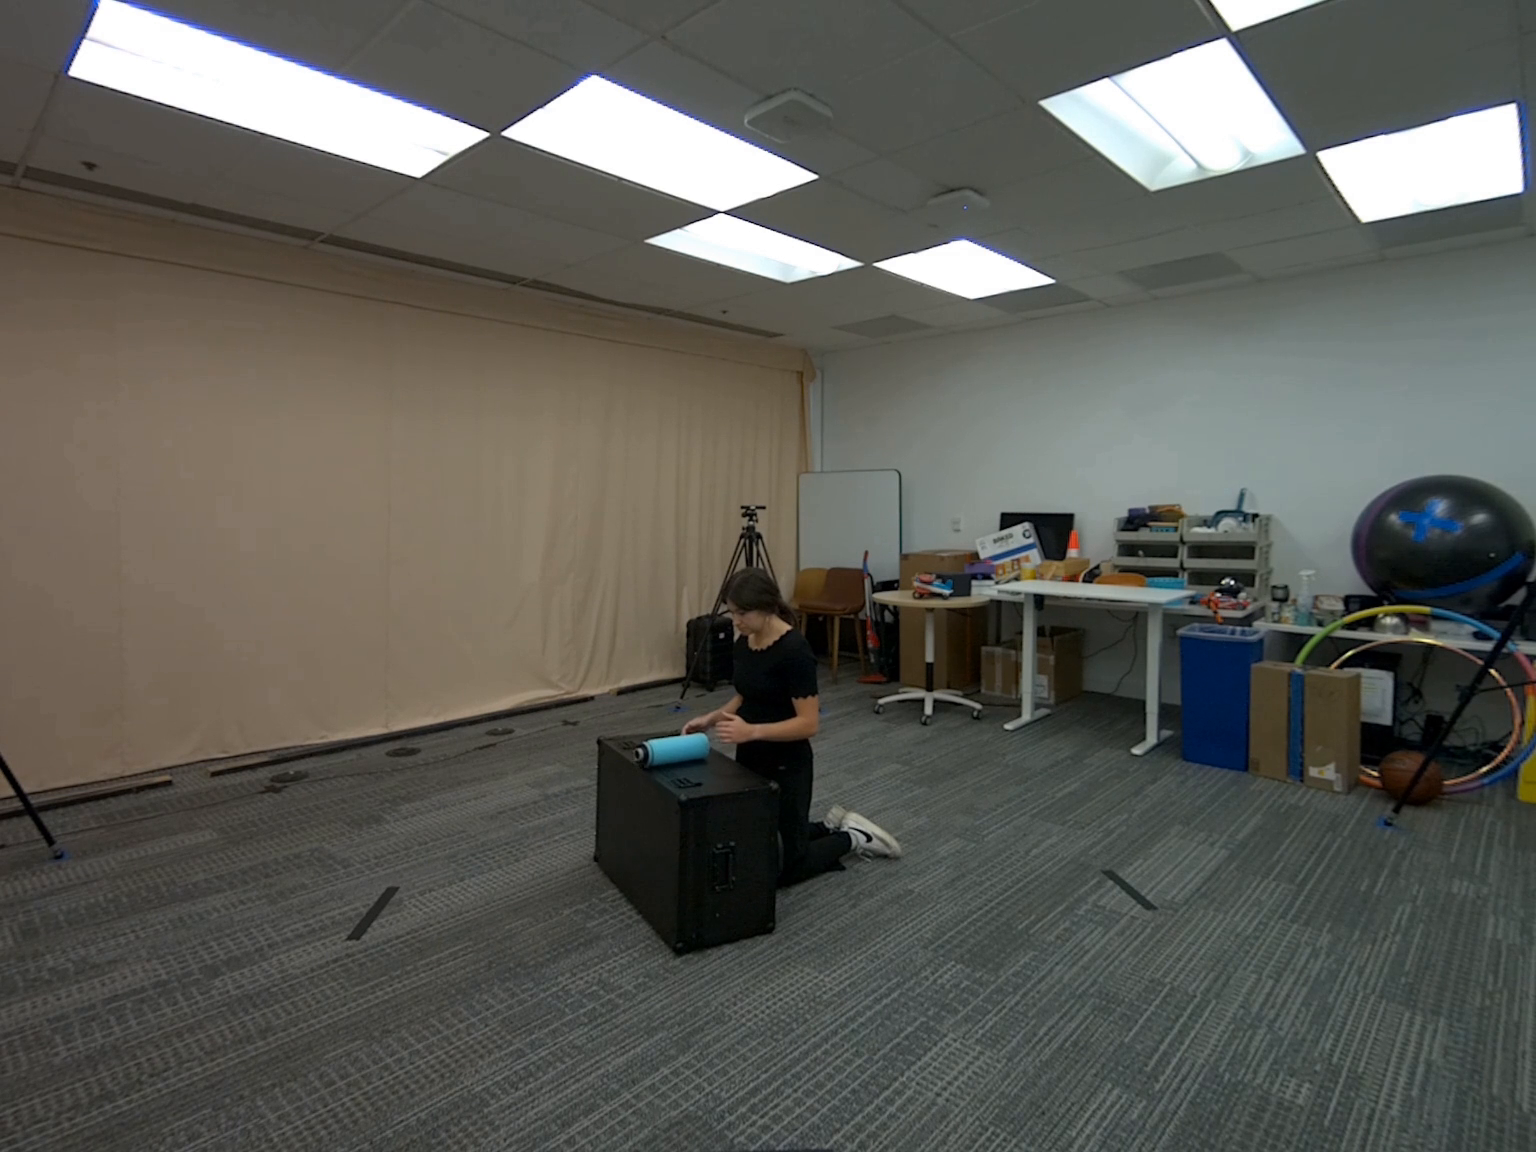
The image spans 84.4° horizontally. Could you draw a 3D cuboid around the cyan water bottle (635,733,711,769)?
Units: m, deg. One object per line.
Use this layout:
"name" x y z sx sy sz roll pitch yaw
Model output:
"cyan water bottle" -0.340 0.612 2.952 0.275 0.092 0.095 0 3 -35
